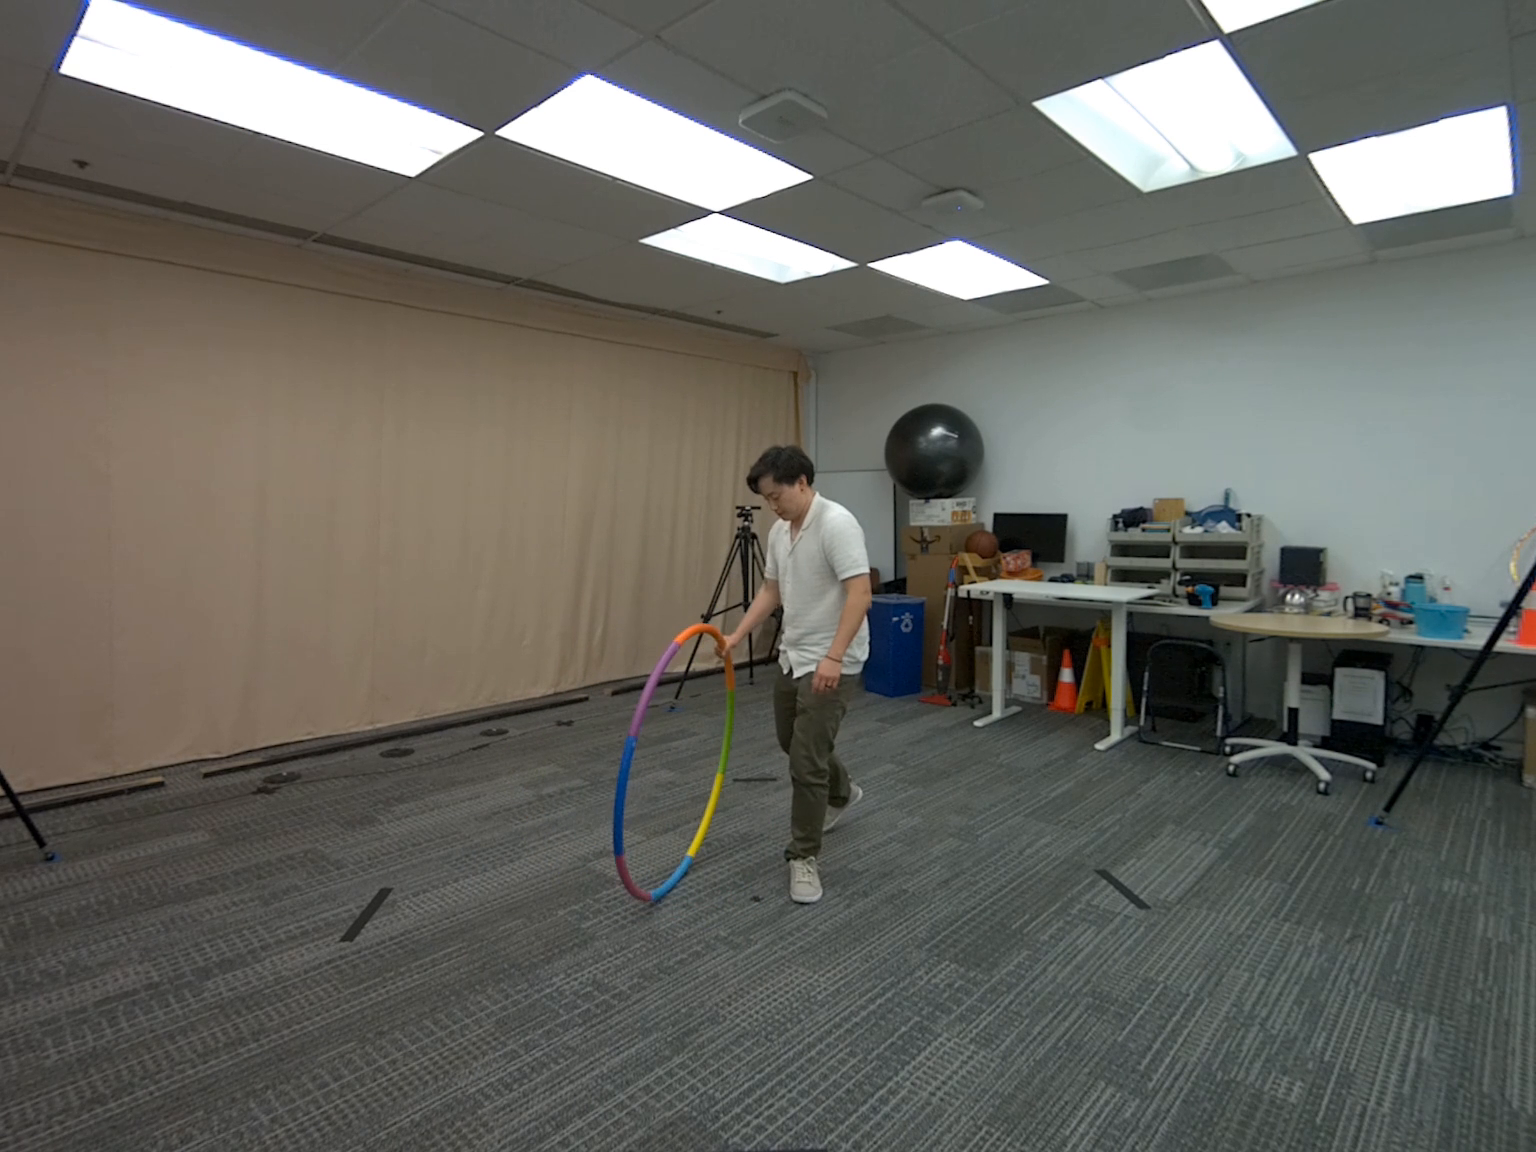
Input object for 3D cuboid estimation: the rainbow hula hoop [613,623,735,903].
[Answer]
[{"bbox_3d":[-0.294,0.657,3.038,0.036,0.976,0.960,8,6,17],"label":"rainbow hula hoop"}]
